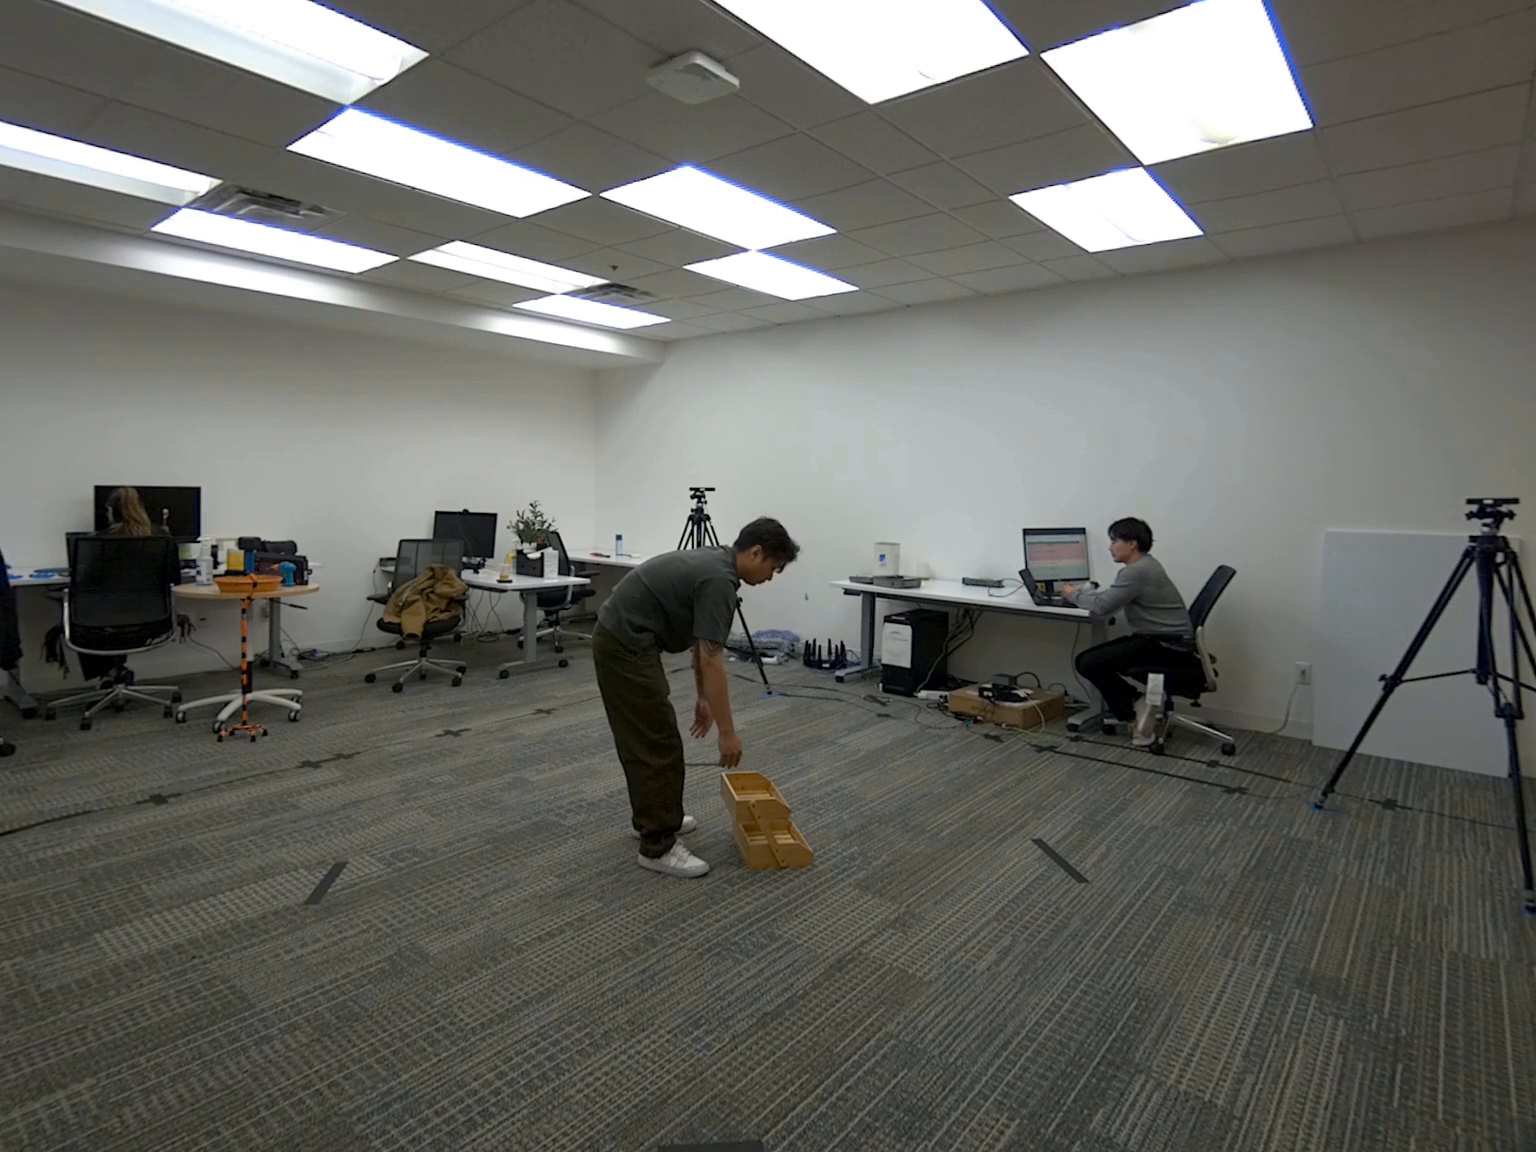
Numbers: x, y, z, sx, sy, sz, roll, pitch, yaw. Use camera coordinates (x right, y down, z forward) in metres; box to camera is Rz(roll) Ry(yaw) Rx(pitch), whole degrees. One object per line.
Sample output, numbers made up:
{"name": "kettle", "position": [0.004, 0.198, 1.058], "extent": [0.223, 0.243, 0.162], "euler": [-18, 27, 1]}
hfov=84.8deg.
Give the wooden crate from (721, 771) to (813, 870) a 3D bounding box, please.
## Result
{"name": "wooden crate", "position": [-0.007, 0.926, 3.262], "extent": [0.298, 0.272, 0.330], "euler": [0, 5, -12]}
